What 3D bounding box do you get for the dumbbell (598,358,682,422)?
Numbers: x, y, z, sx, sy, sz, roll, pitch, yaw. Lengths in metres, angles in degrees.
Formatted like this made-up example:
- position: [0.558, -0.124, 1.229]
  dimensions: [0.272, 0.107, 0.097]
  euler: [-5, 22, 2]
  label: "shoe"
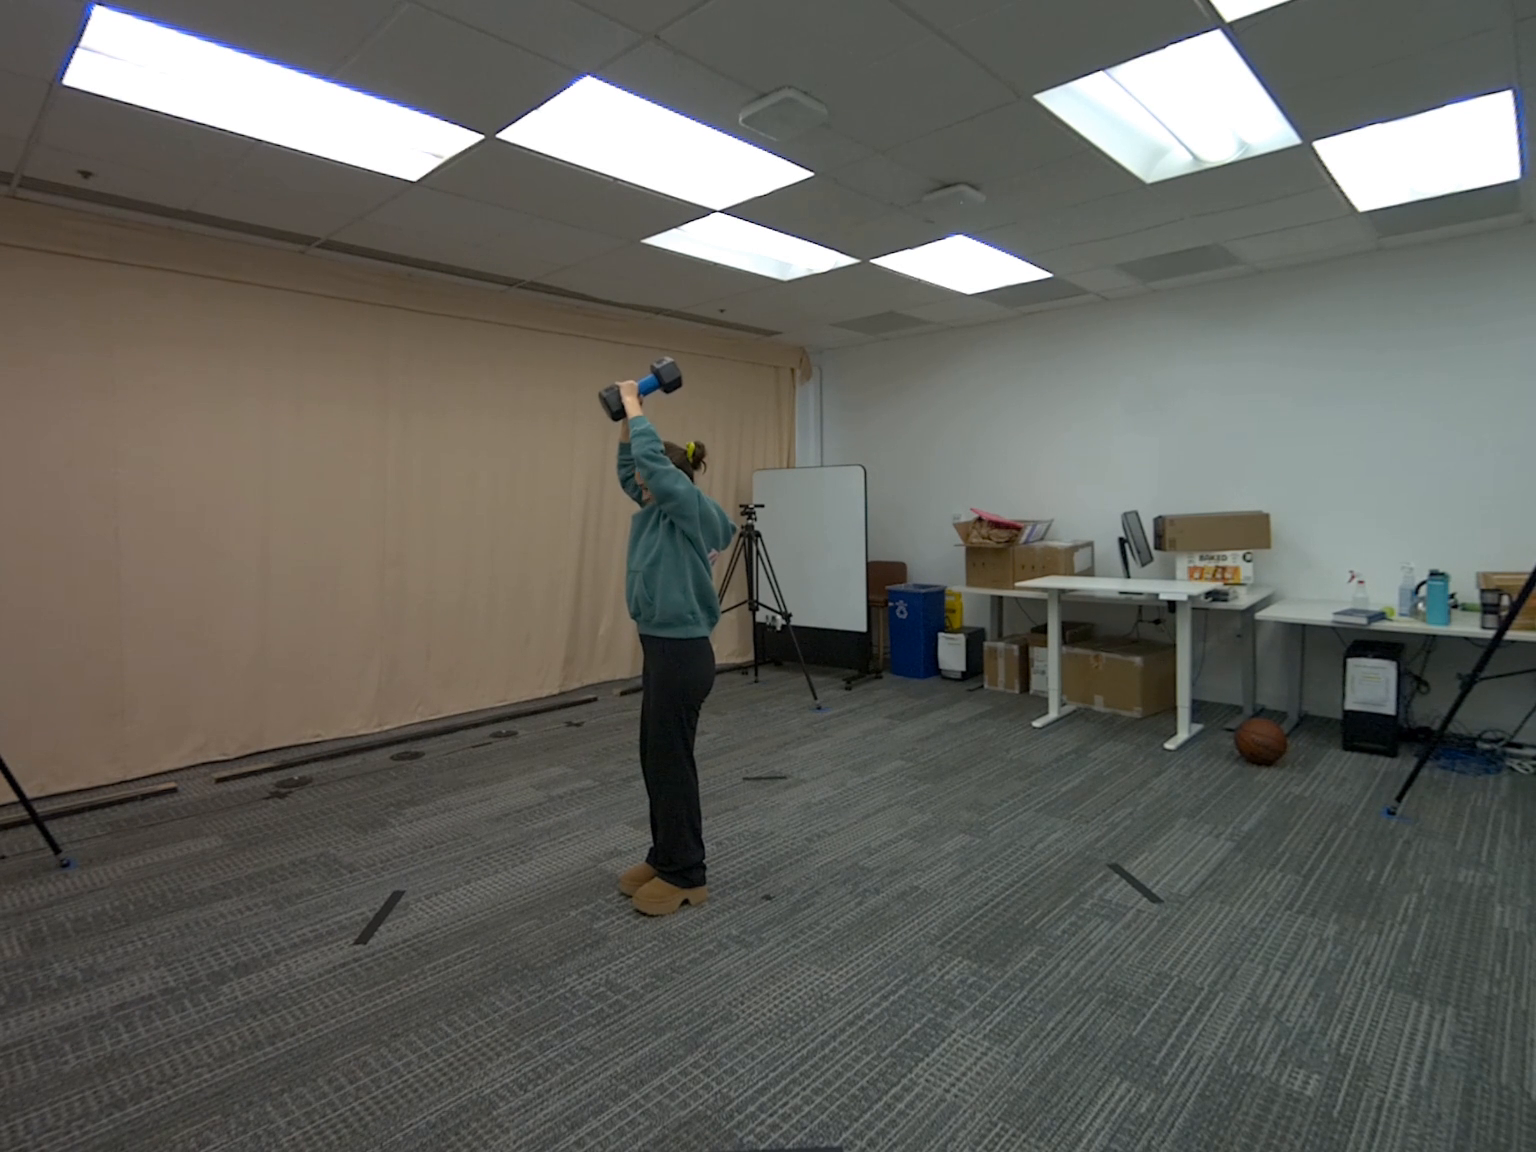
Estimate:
- position: [-0.449, -0.654, 2.971]
  dimensions: [0.292, 0.122, 0.110]
  euler: [-31, 7, -10]
  label: "dumbbell"
